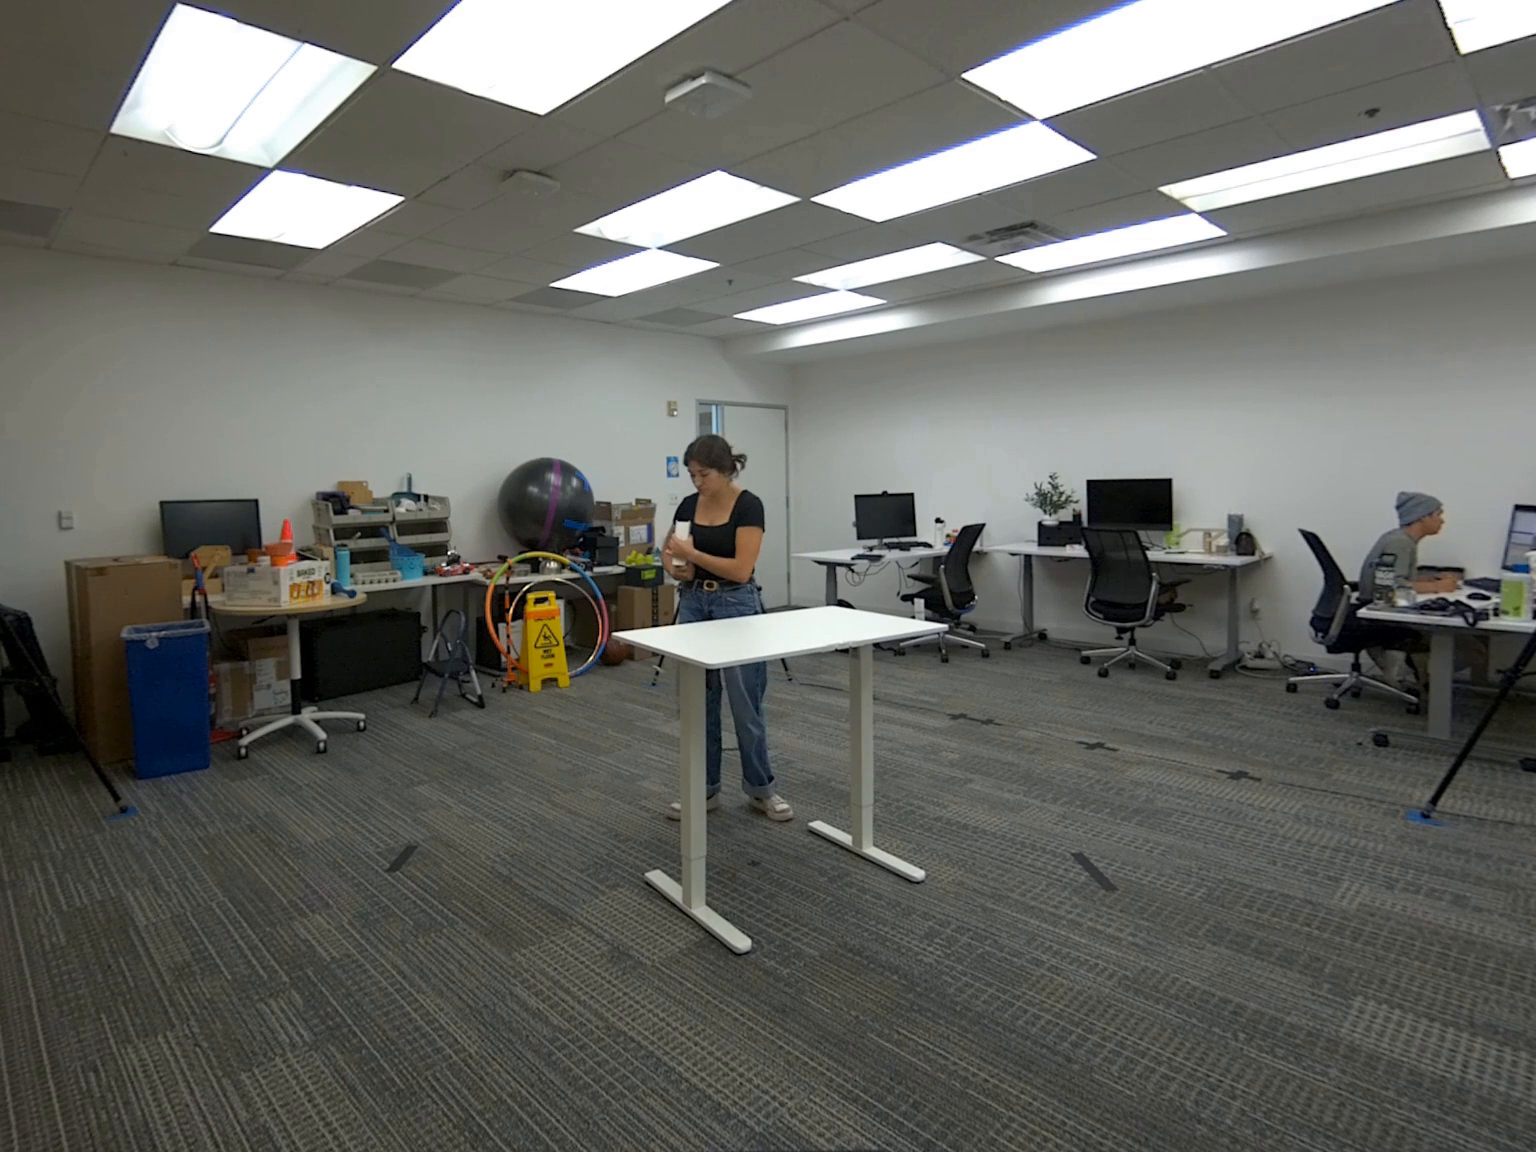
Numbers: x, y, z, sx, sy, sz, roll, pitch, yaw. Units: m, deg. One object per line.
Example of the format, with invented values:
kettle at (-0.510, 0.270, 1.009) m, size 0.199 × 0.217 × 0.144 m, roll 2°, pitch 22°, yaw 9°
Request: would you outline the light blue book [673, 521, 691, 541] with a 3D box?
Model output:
light blue book at (-0.336, -0.115, 3.596) m, size 0.059 × 0.193 × 0.257 m, roll 4°, pitch -9°, yaw 3°
